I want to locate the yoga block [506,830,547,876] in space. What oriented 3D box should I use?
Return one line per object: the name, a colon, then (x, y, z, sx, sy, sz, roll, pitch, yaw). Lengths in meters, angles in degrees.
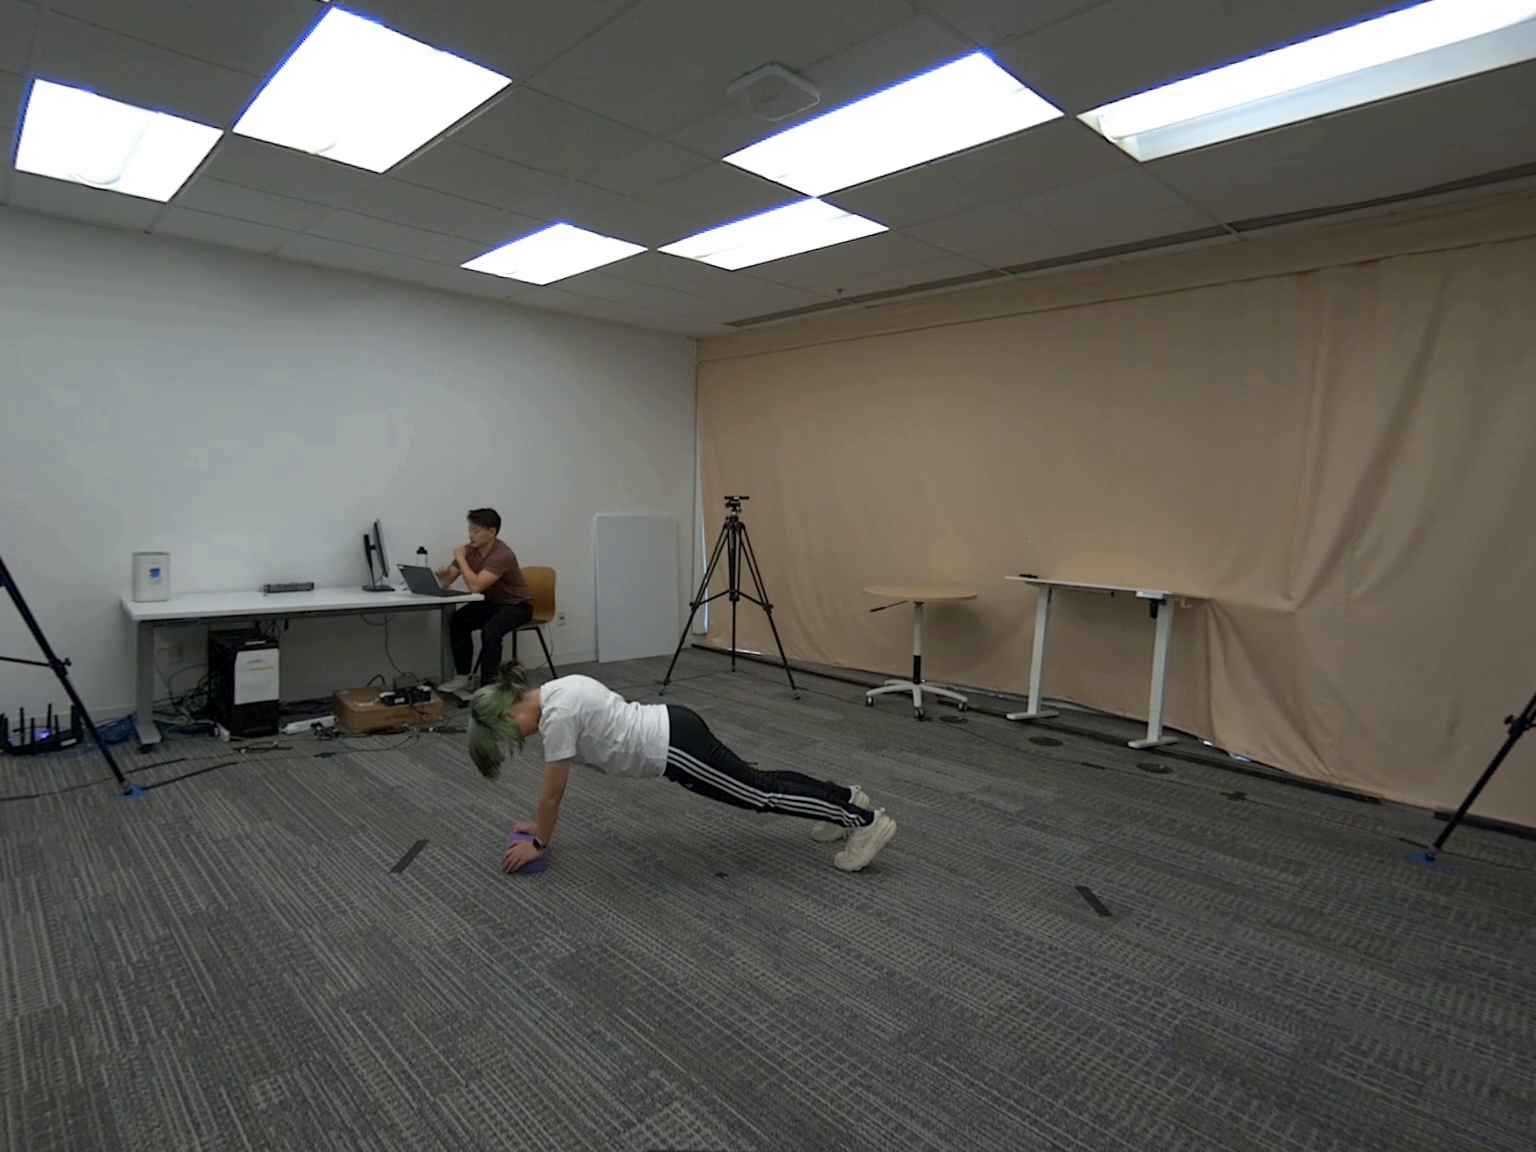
yoga block: (-0.911, 1.039, 3.198, 0.148, 0.076, 0.232, 0, 7, -8)
